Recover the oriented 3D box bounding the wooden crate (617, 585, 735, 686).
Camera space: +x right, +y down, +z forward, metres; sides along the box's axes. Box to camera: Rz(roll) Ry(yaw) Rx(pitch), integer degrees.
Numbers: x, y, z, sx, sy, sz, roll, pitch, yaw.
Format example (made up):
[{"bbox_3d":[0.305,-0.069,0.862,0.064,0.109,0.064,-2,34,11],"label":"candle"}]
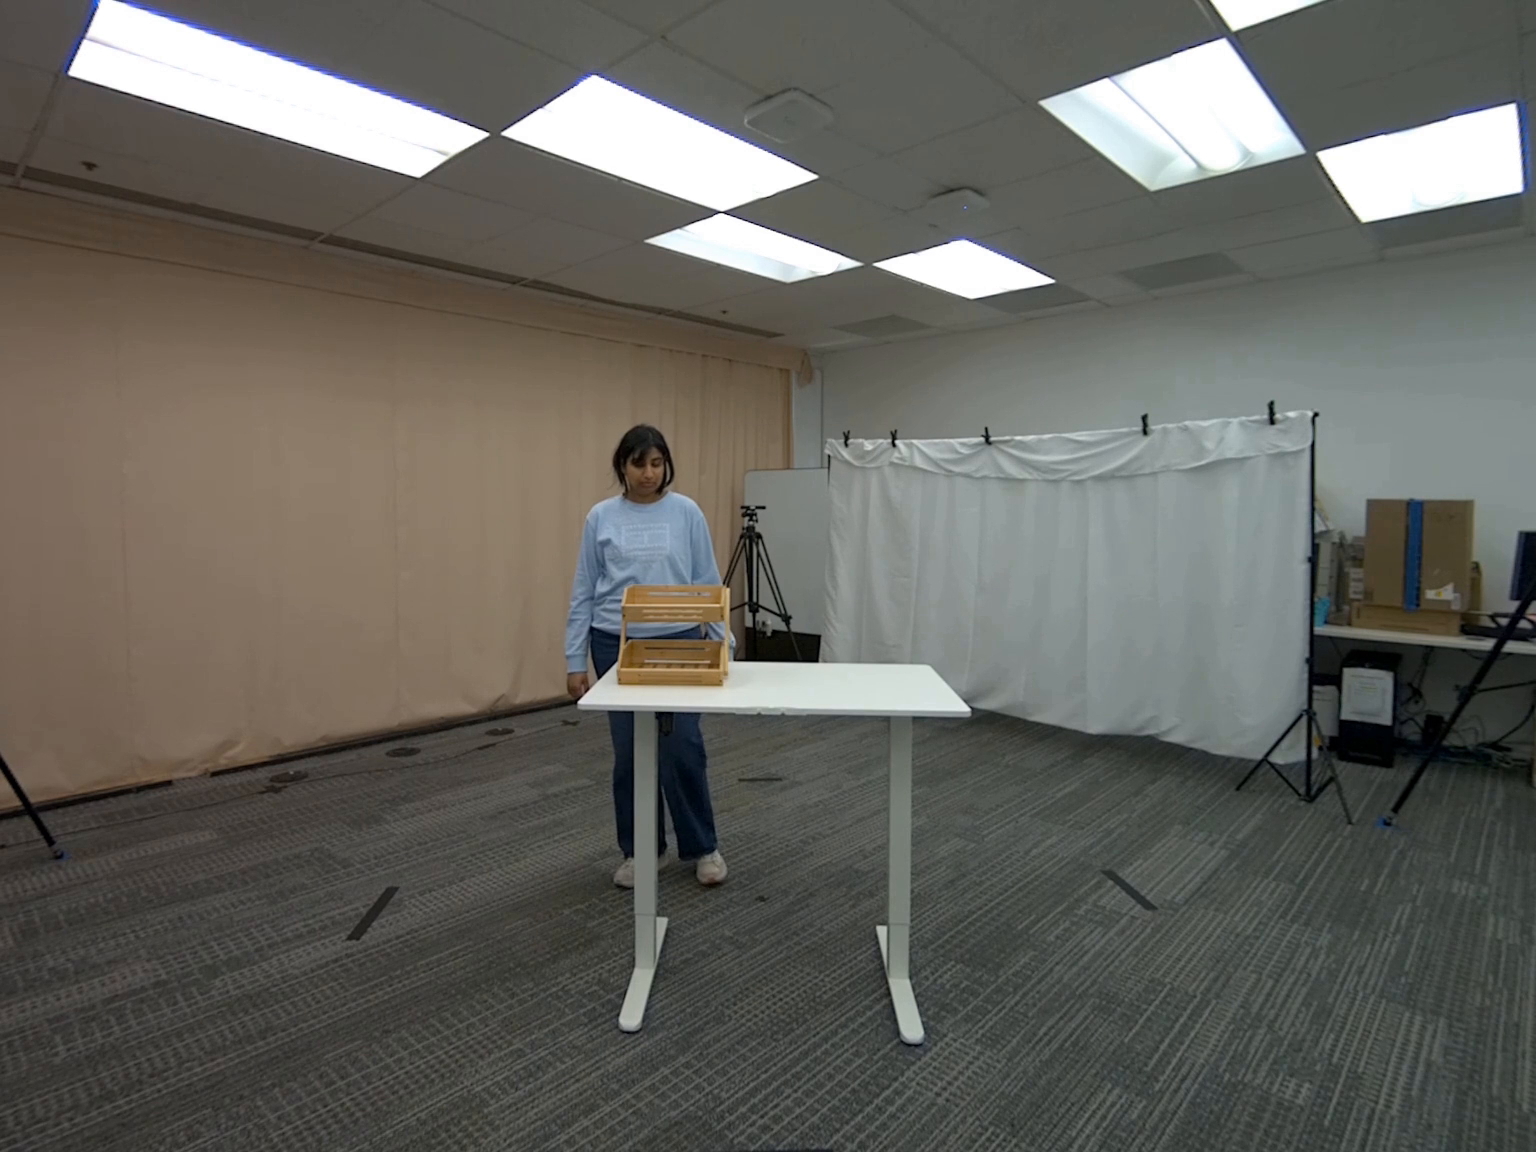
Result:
[{"bbox_3d":[-0.274,0.168,2.511,0.325,0.273,0.302,1,3,1],"label":"wooden crate"}]
